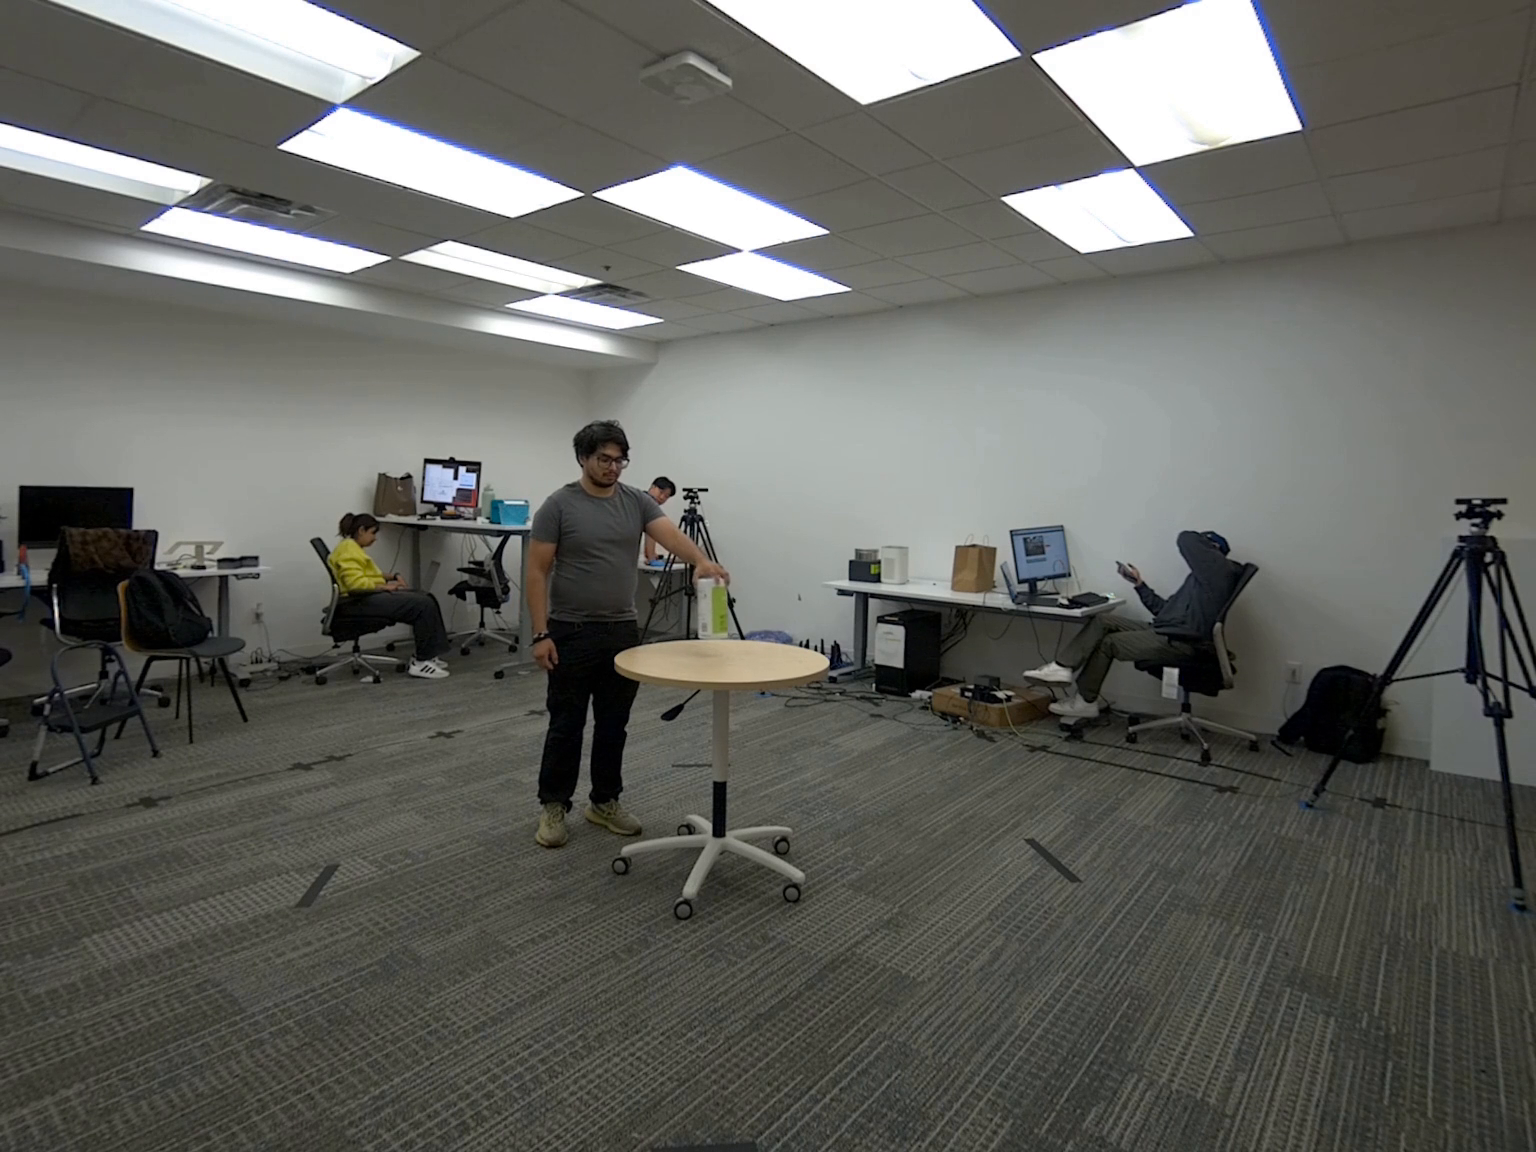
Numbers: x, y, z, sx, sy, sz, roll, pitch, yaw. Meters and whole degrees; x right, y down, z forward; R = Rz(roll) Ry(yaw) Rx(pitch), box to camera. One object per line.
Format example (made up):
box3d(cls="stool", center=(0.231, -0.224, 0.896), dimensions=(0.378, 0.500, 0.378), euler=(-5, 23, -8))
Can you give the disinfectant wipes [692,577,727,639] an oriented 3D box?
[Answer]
box3d(cls="disinfectant wipes", center=(-0.217, 0.112, 3.086), dimensions=(0.118, 0.217, 0.118), euler=(-1, 0, -2))
